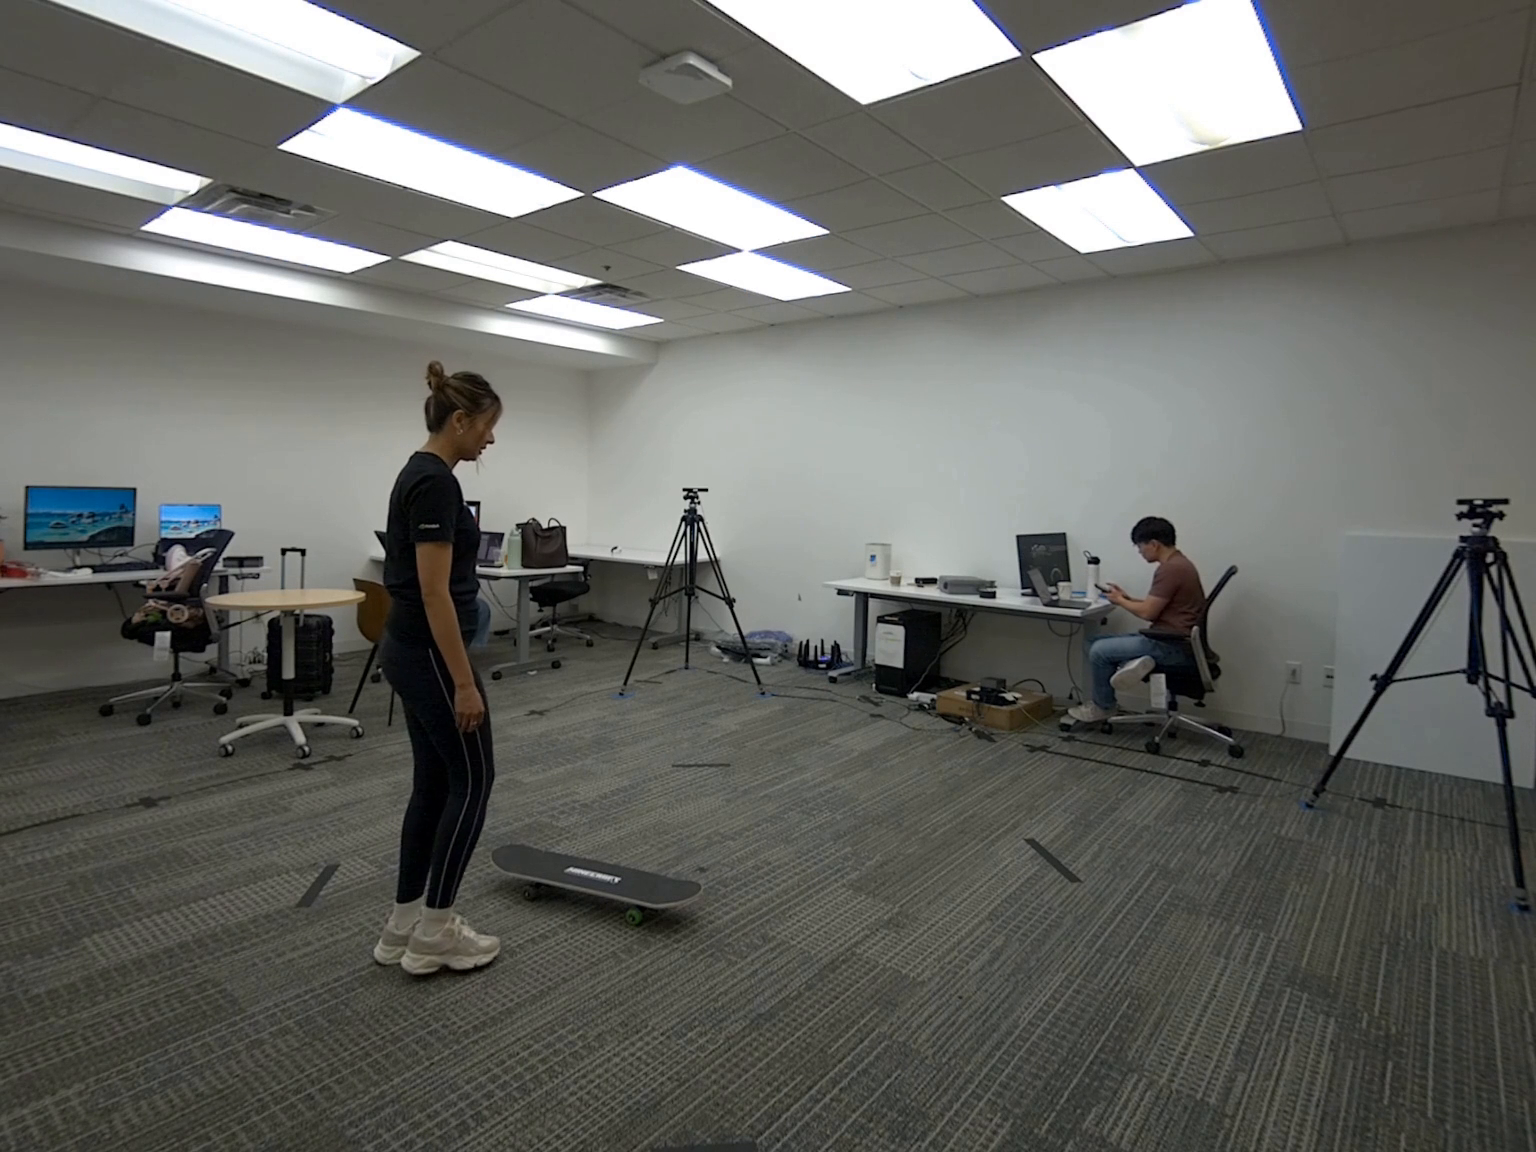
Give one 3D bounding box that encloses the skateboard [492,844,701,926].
[{"bbox_3d":[-0.601,1.031,2.846,0.804,0.110,0.190,3,6,22],"label":"skateboard"}]
